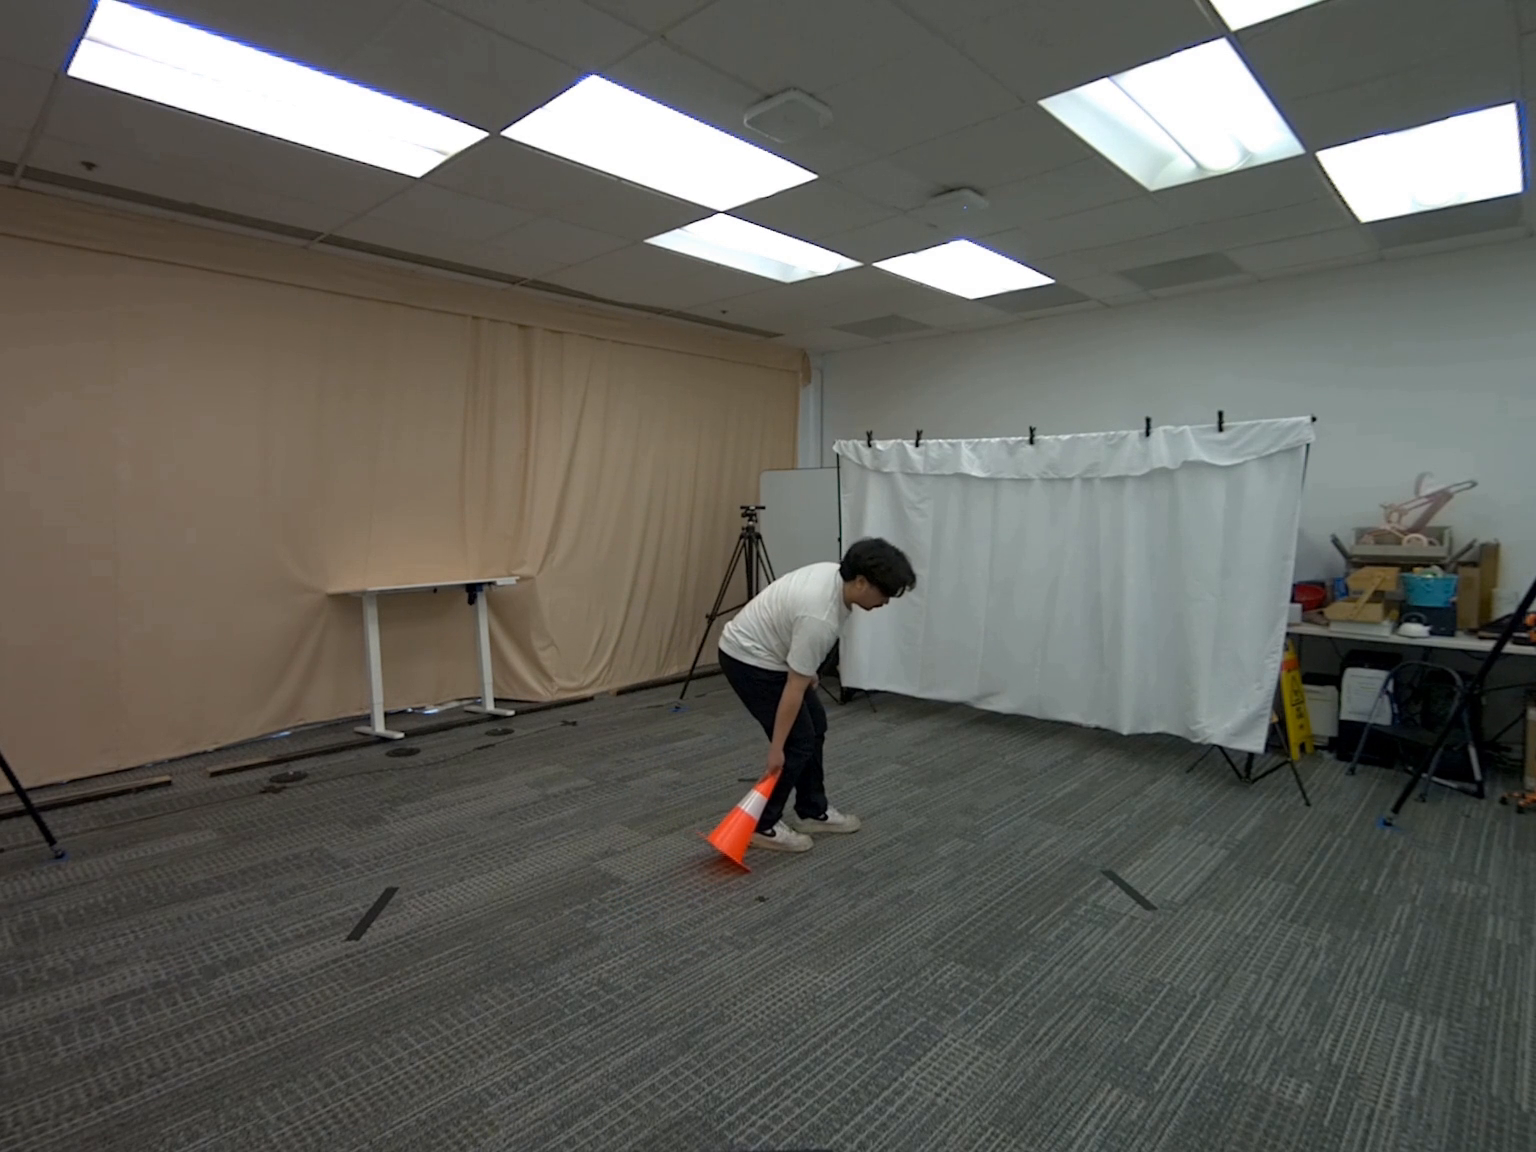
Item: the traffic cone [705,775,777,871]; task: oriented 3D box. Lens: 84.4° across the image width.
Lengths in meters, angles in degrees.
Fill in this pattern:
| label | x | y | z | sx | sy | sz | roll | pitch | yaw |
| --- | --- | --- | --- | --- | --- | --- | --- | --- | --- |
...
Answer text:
| label | x | y | z | sx | sy | sz | roll | pitch | yaw |
| --- | --- | --- | --- | --- | --- | --- | --- | --- | --- |
| traffic cone | -0.066 | 0.911 | 3.285 | 0.197 | 0.383 | 0.211 | 44 | -17 | -27 |
